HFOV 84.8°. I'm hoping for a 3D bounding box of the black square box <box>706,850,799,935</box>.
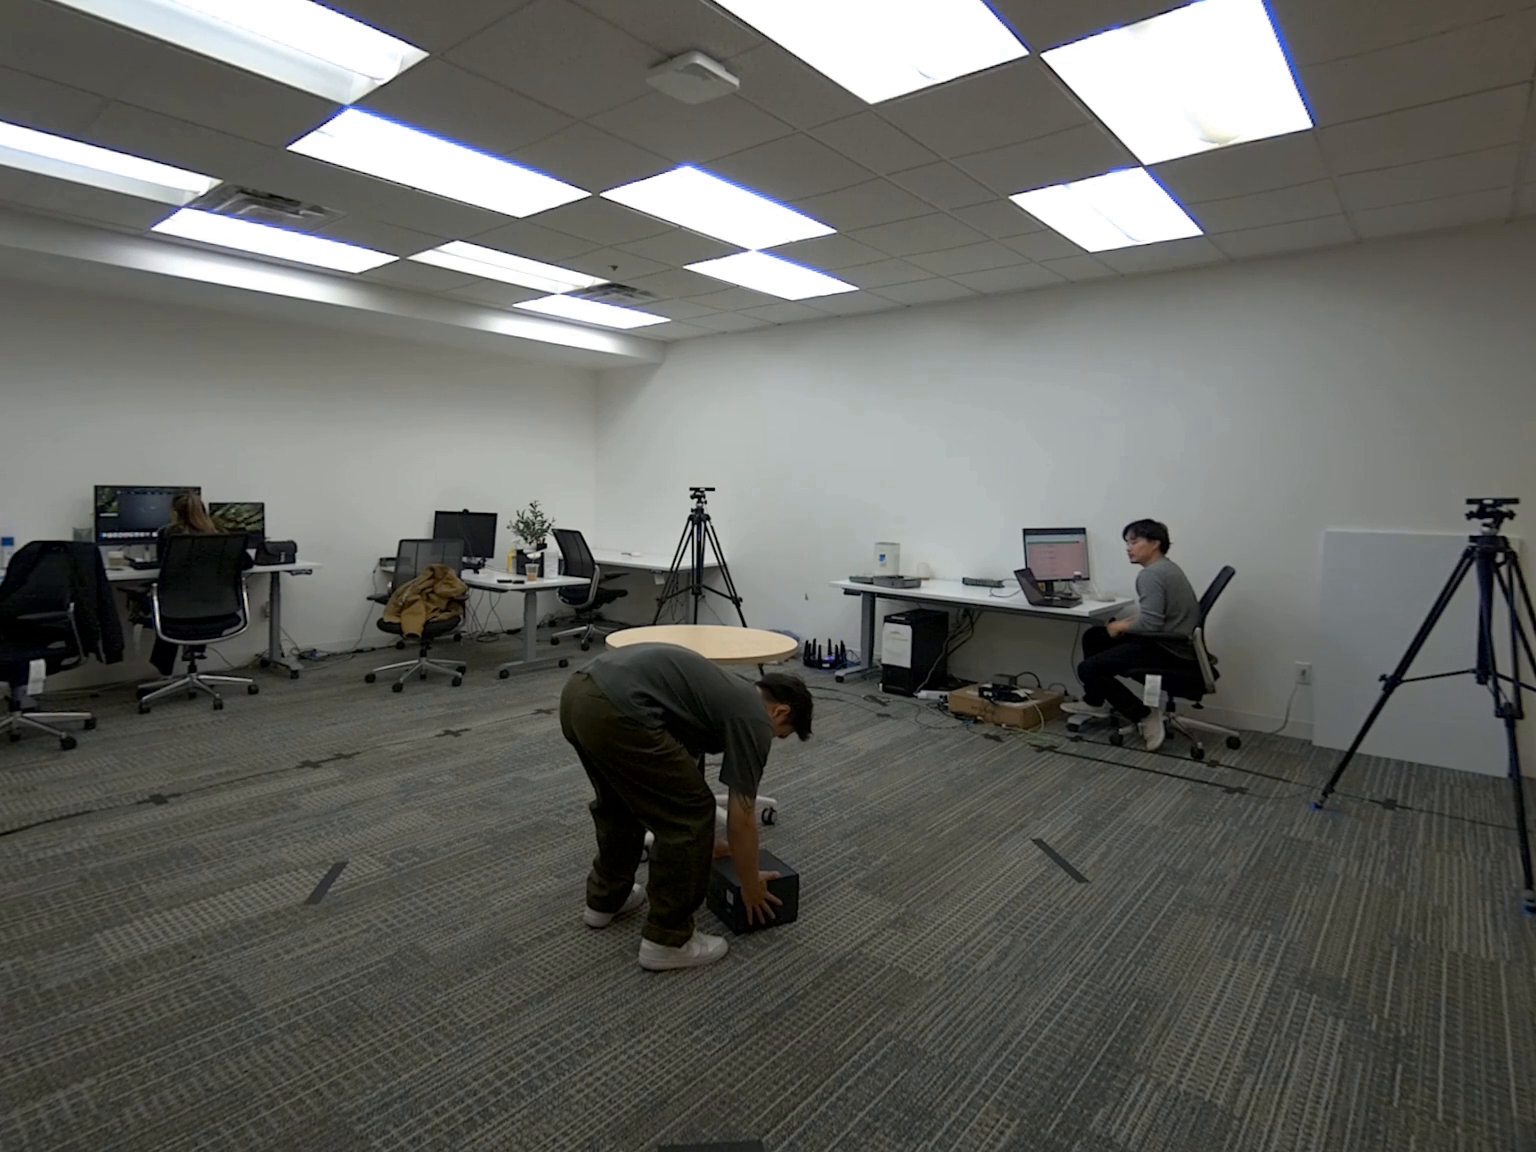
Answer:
[{"bbox_3d":[-0.062,1.021,2.770,0.222,0.155,0.224,0,5,-30],"label":"black square box"}]
